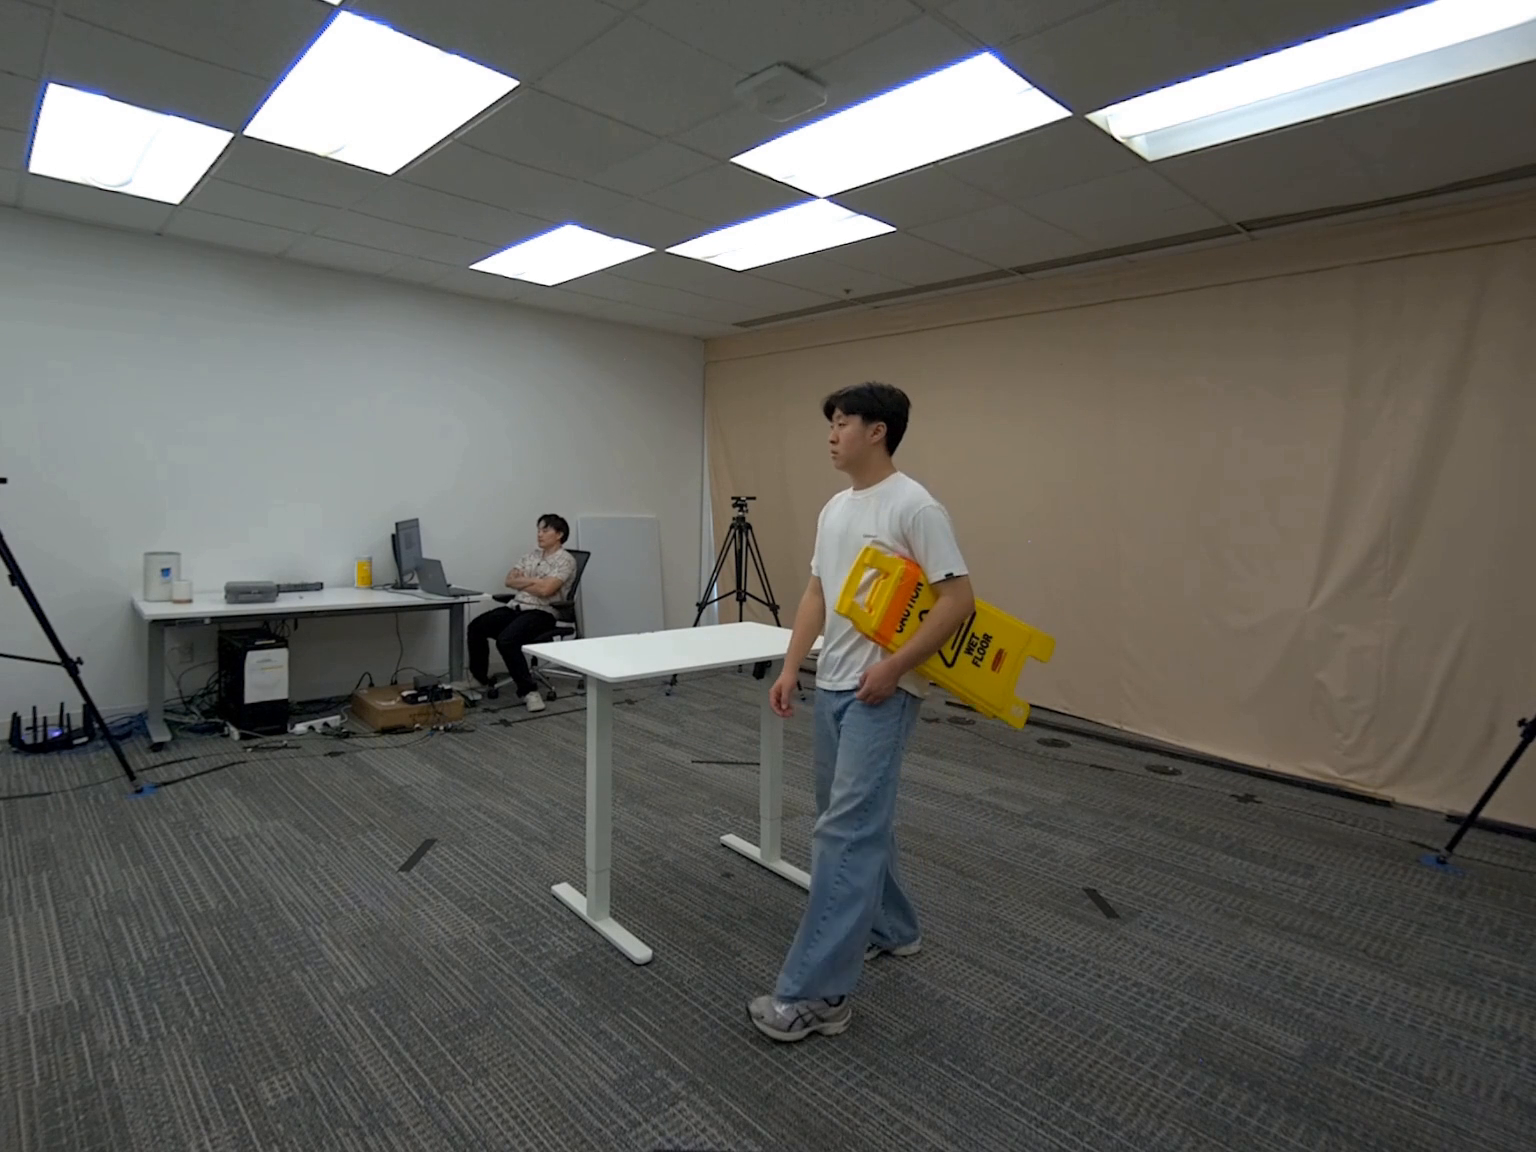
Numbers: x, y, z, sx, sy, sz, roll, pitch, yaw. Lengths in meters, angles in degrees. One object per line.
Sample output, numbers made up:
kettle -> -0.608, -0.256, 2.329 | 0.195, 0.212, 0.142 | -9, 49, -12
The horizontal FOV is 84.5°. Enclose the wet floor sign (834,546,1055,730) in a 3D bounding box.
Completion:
wet floor sign -> 0.453, 0.148, 2.309 | 0.631, 0.283, 0.295 | 31, -11, -24
